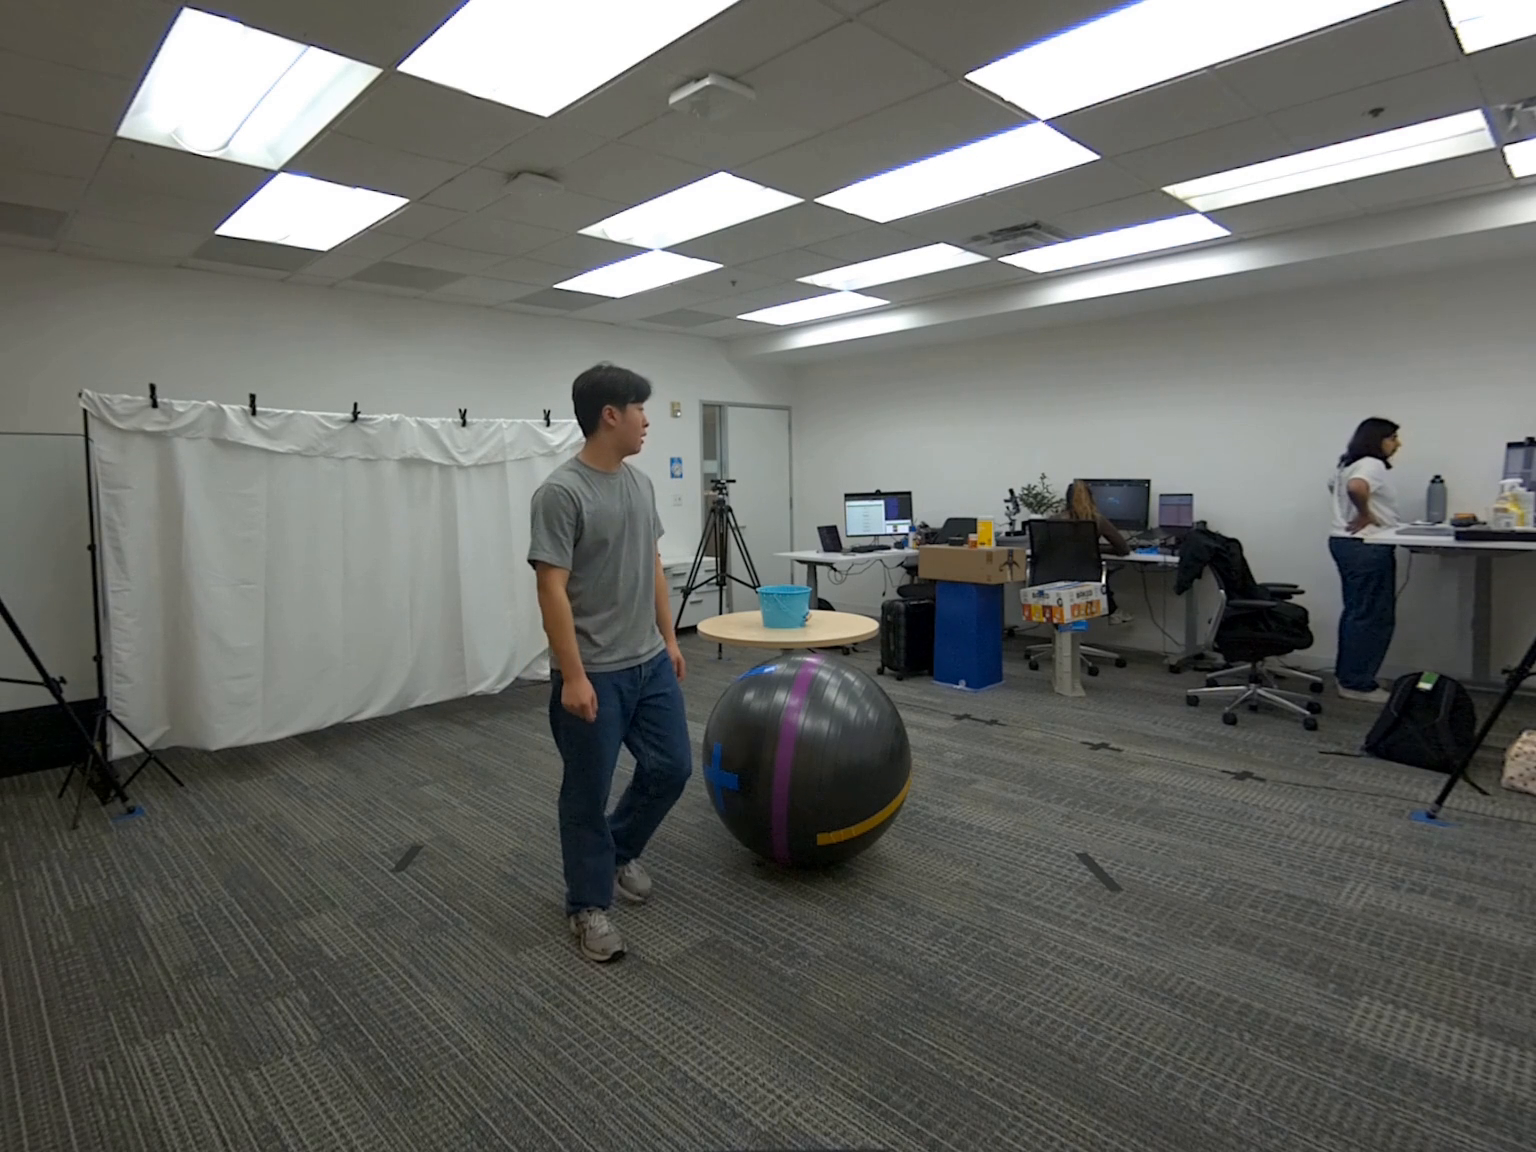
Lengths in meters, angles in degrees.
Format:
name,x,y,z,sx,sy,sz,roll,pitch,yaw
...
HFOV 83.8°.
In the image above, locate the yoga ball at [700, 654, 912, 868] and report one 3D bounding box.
name,x,y,z,sx,sy,sz,roll,pitch,yaw
yoga ball,0.143,0.670,3.134,0.757,0.755,0.762,-1,5,-2
